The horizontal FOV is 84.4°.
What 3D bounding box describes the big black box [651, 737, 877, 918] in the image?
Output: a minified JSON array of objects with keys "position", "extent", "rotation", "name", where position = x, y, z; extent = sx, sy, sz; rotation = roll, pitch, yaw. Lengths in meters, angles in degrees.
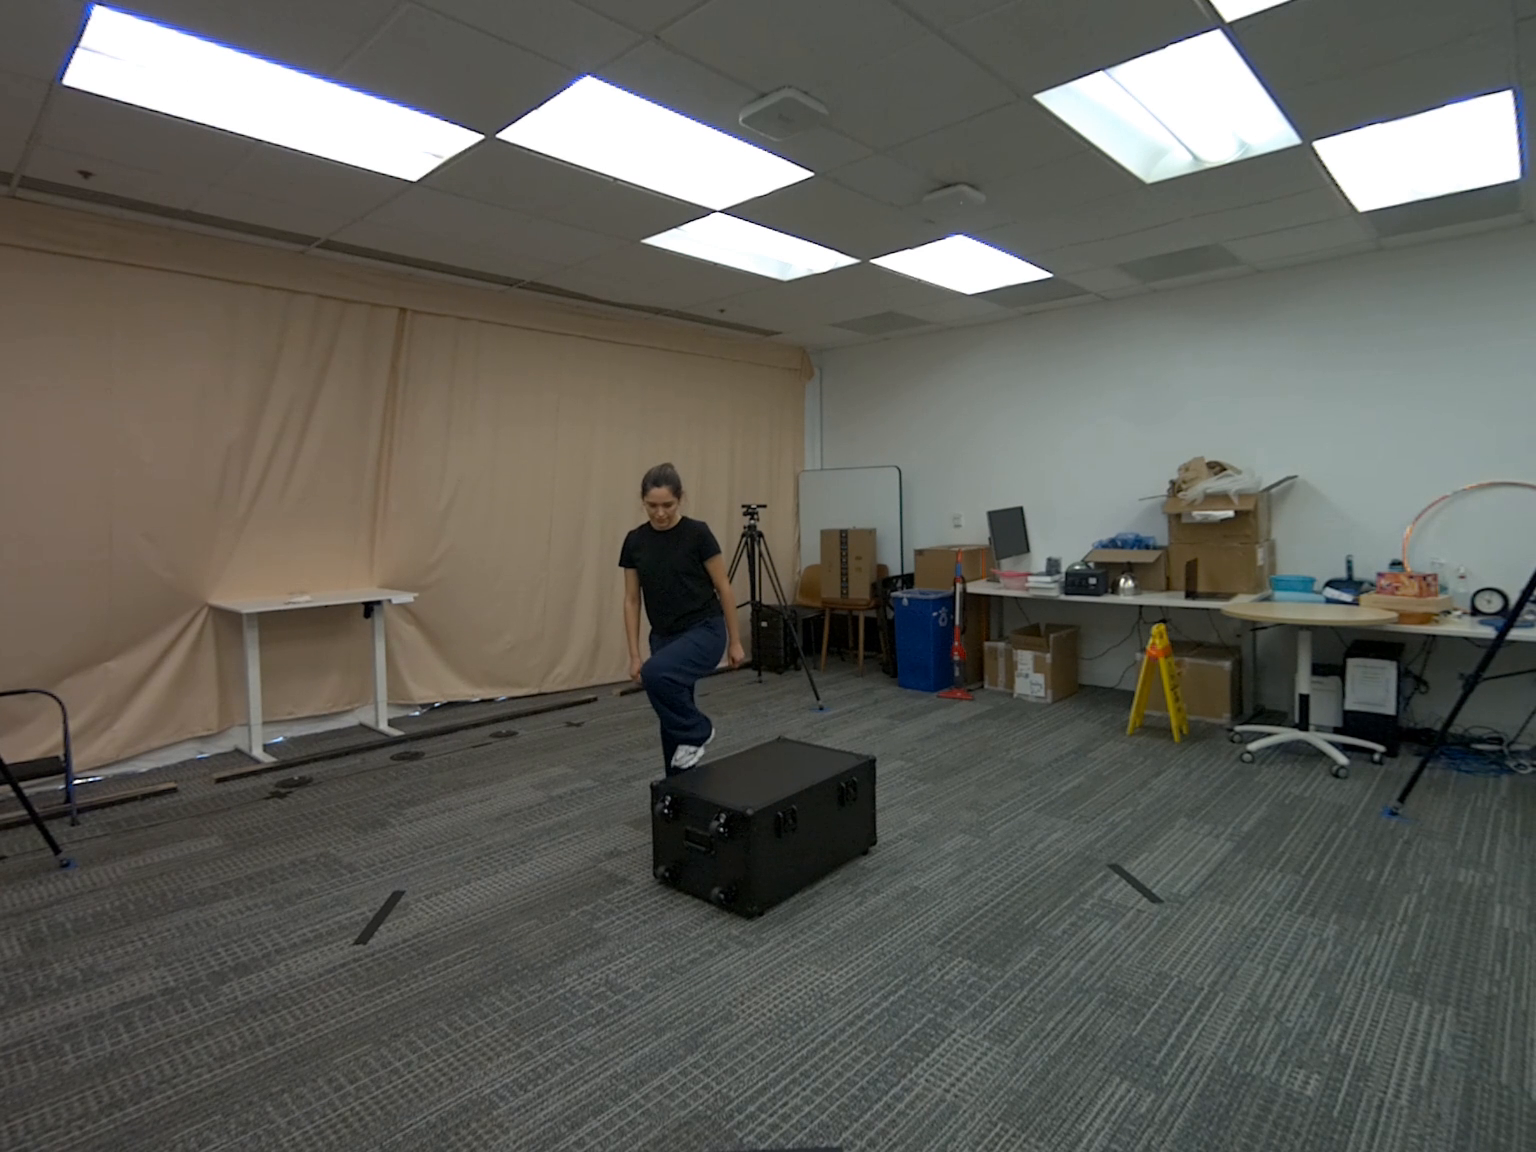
[{"position":[-0.003,0.930,3.210],"extent":[0.538,0.395,0.836],"rotation":[2,5,40],"name":"big black box"}]
